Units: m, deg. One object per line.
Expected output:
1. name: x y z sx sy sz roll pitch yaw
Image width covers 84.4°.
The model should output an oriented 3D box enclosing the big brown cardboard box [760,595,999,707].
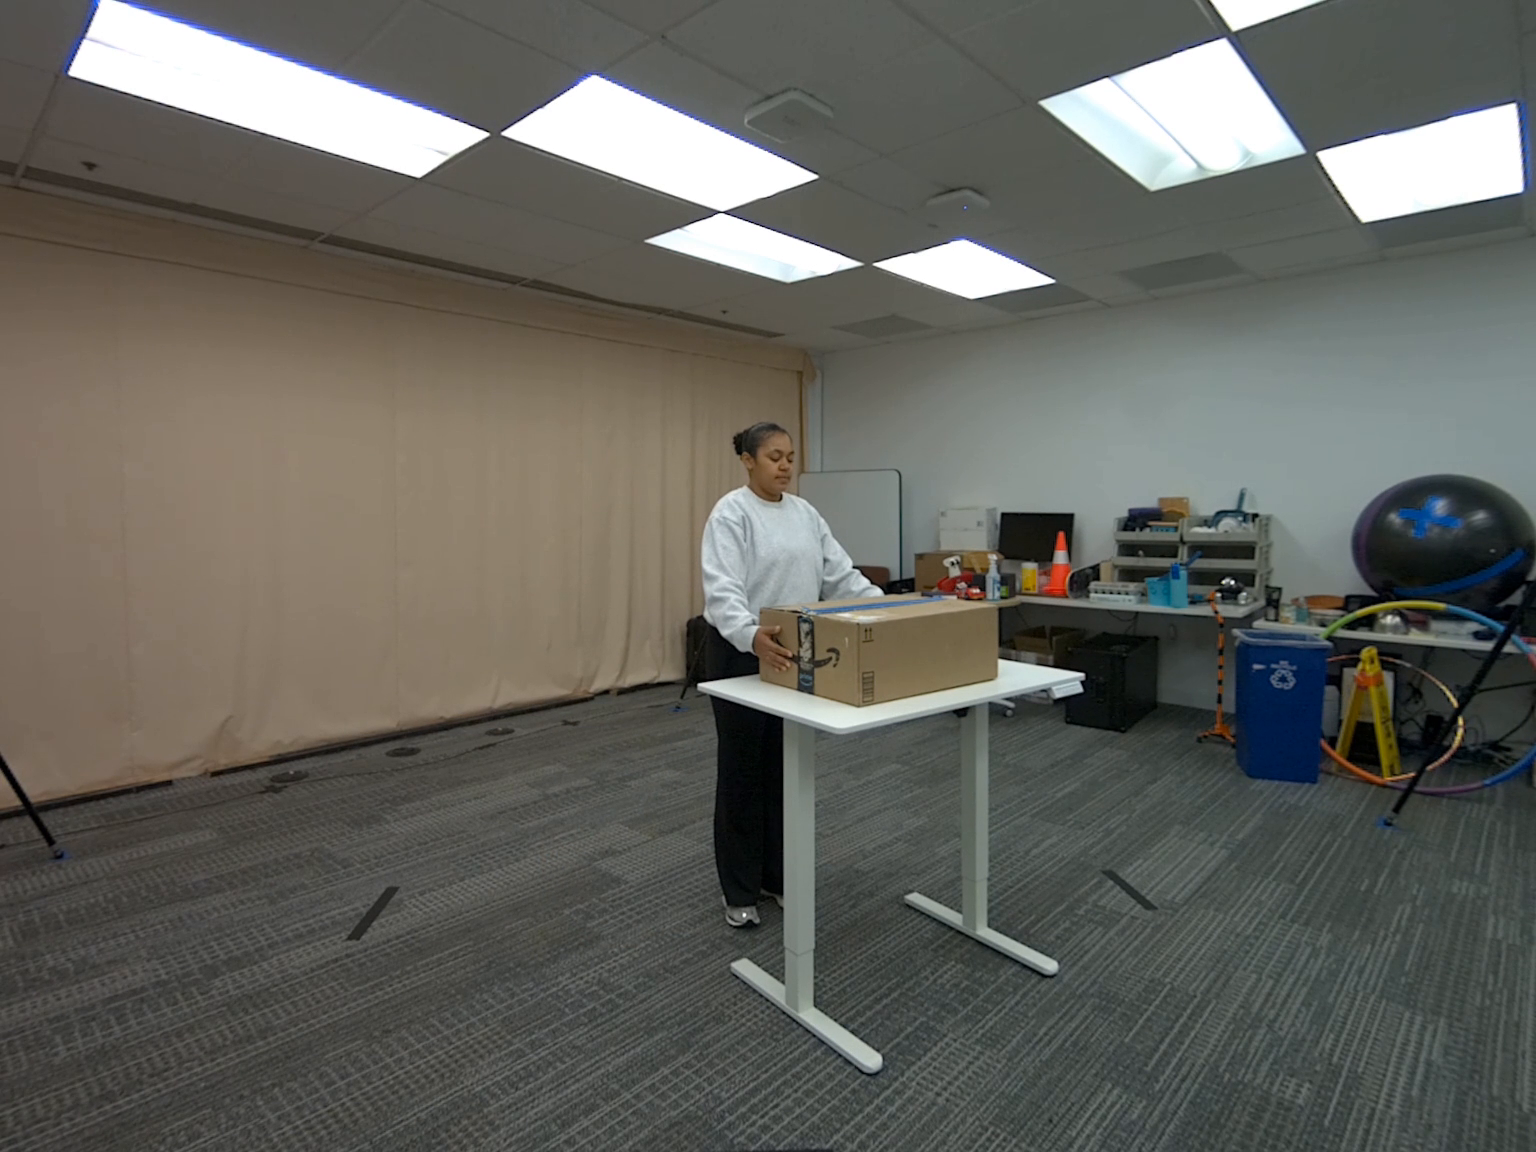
1. big brown cardboard box: 0.330 0.198 2.444 0.572 0.233 0.431 -3 5 -36
